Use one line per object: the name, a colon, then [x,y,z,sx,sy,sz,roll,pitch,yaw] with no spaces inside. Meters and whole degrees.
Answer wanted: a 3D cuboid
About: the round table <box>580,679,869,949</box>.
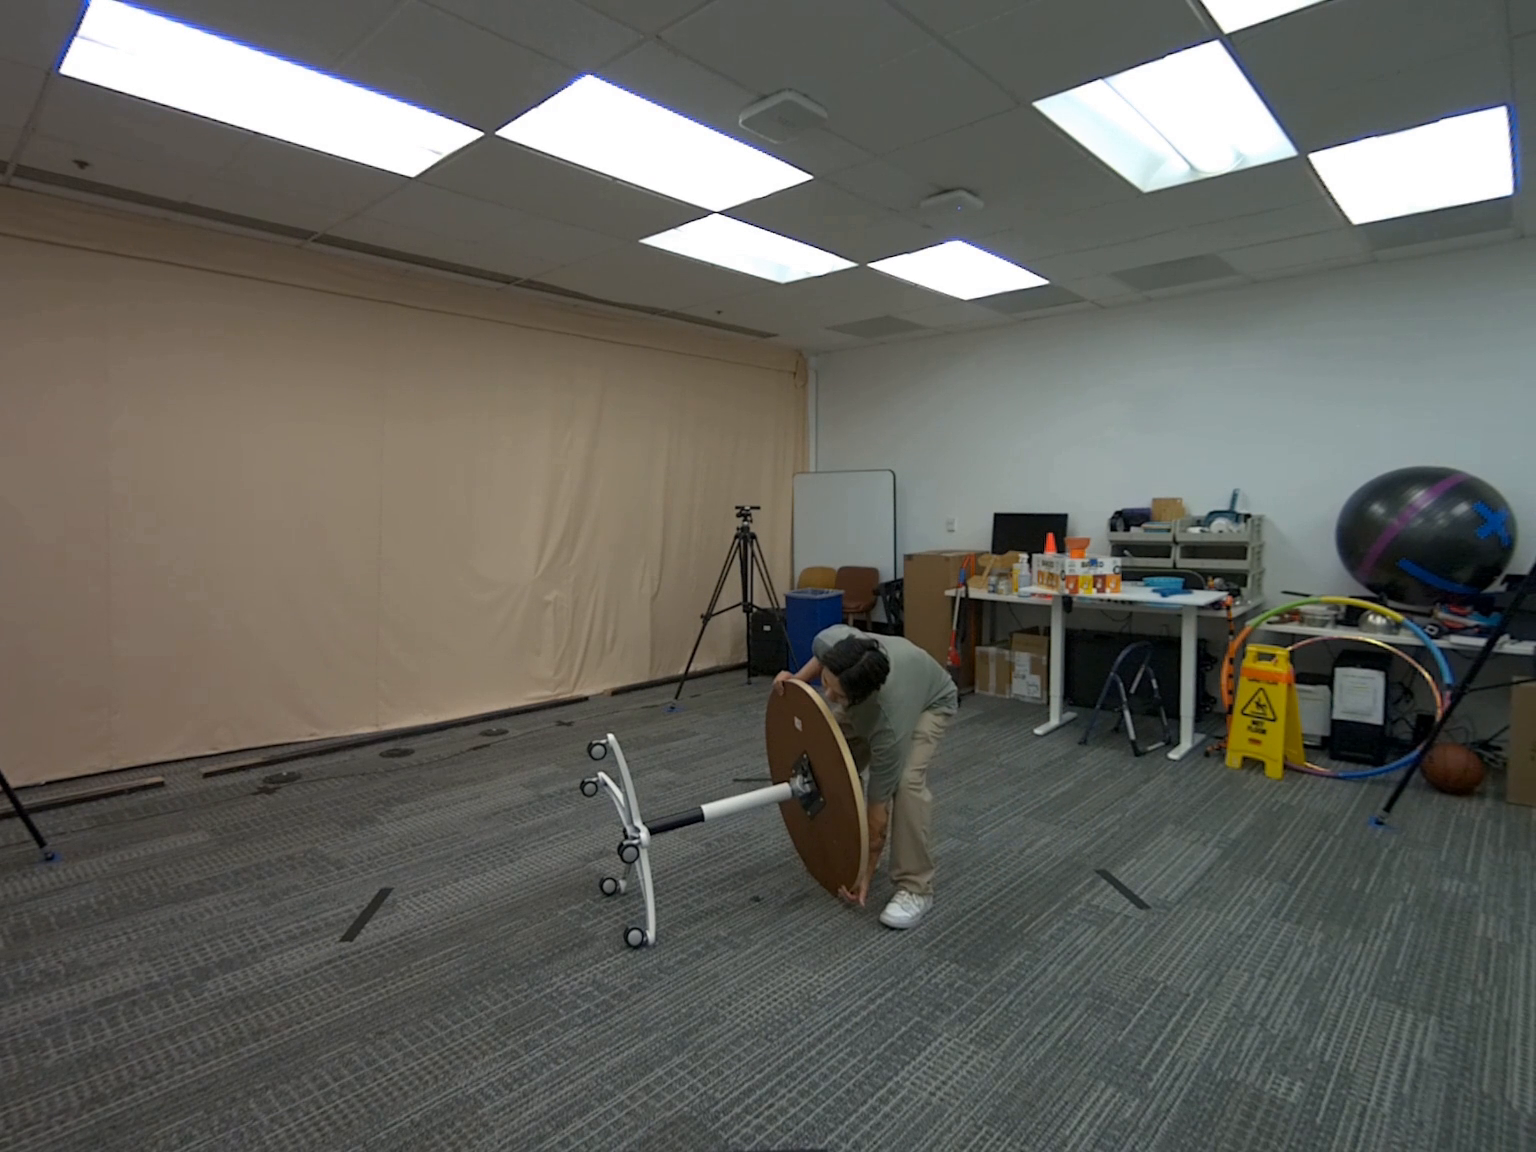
round table: [-0.193,0.818,2.940,0.773,0.782,0.802,-9,6,-19]
